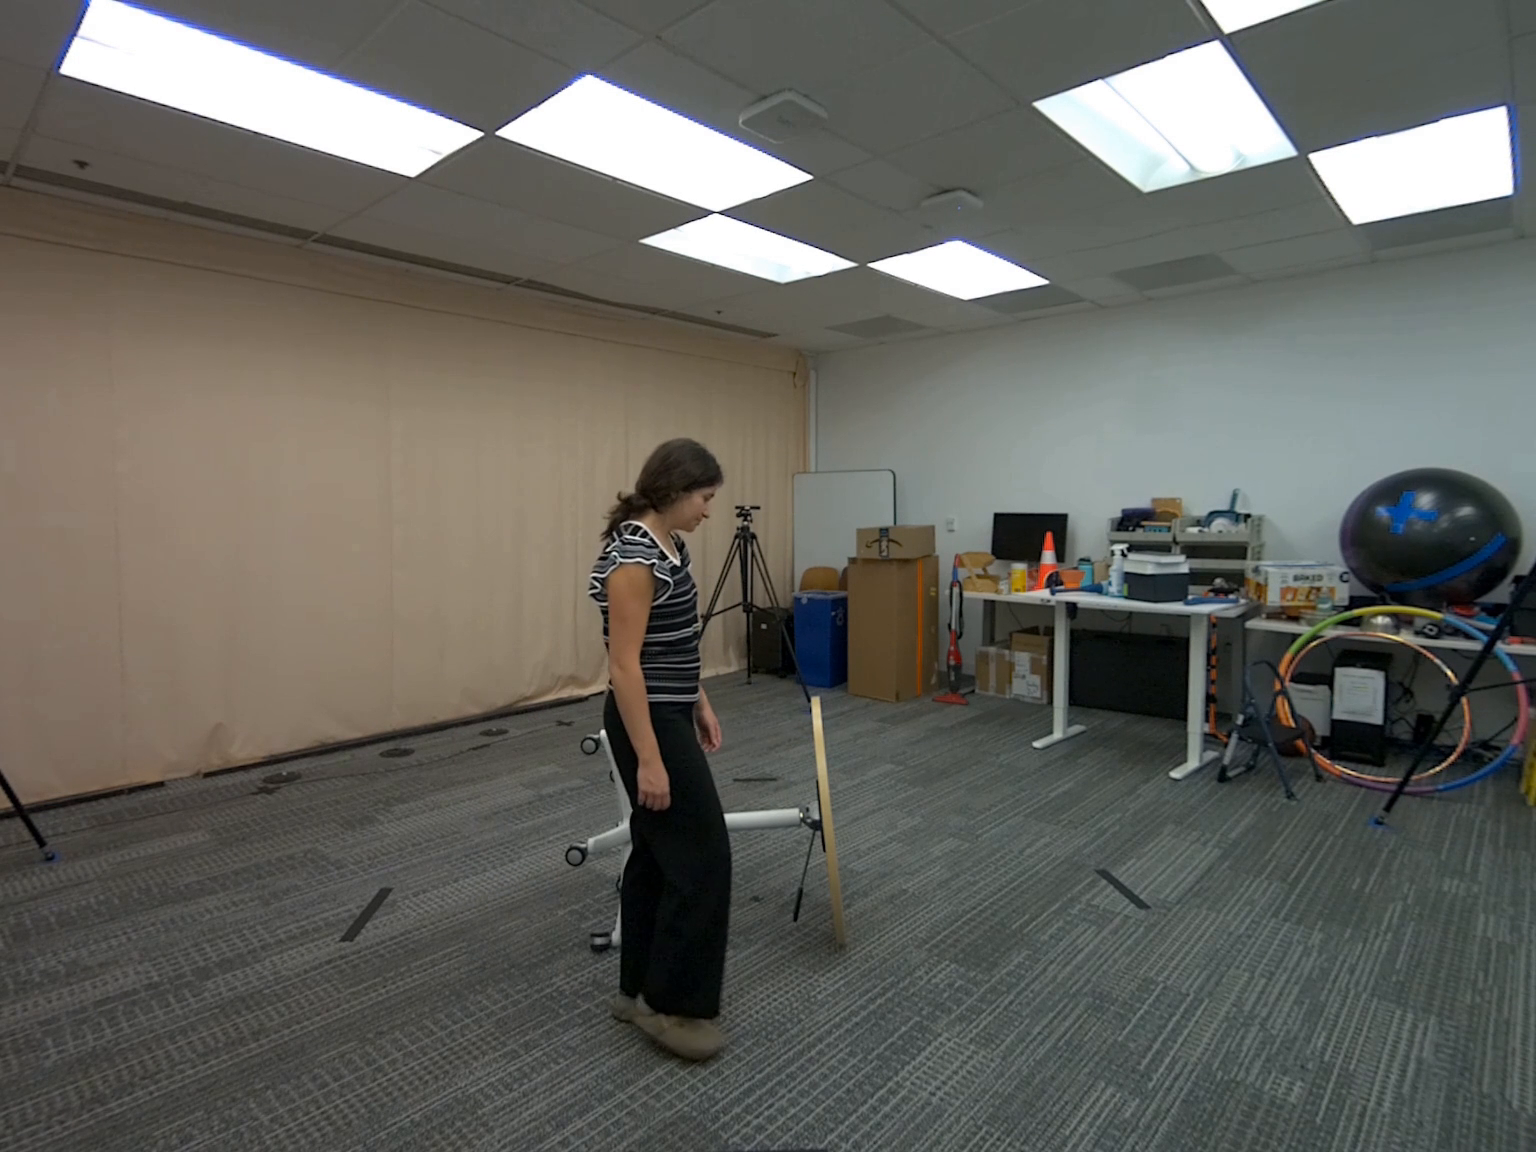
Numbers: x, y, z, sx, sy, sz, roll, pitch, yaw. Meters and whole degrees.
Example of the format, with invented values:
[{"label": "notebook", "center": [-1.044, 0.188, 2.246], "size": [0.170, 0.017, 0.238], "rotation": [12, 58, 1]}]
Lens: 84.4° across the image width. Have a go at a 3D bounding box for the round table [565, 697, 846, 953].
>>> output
[{"label": "round table", "center": [-0.186, 0.823, 2.783], "size": [0.790, 0.783, 0.783], "rotation": [-6, 3, 4]}]
